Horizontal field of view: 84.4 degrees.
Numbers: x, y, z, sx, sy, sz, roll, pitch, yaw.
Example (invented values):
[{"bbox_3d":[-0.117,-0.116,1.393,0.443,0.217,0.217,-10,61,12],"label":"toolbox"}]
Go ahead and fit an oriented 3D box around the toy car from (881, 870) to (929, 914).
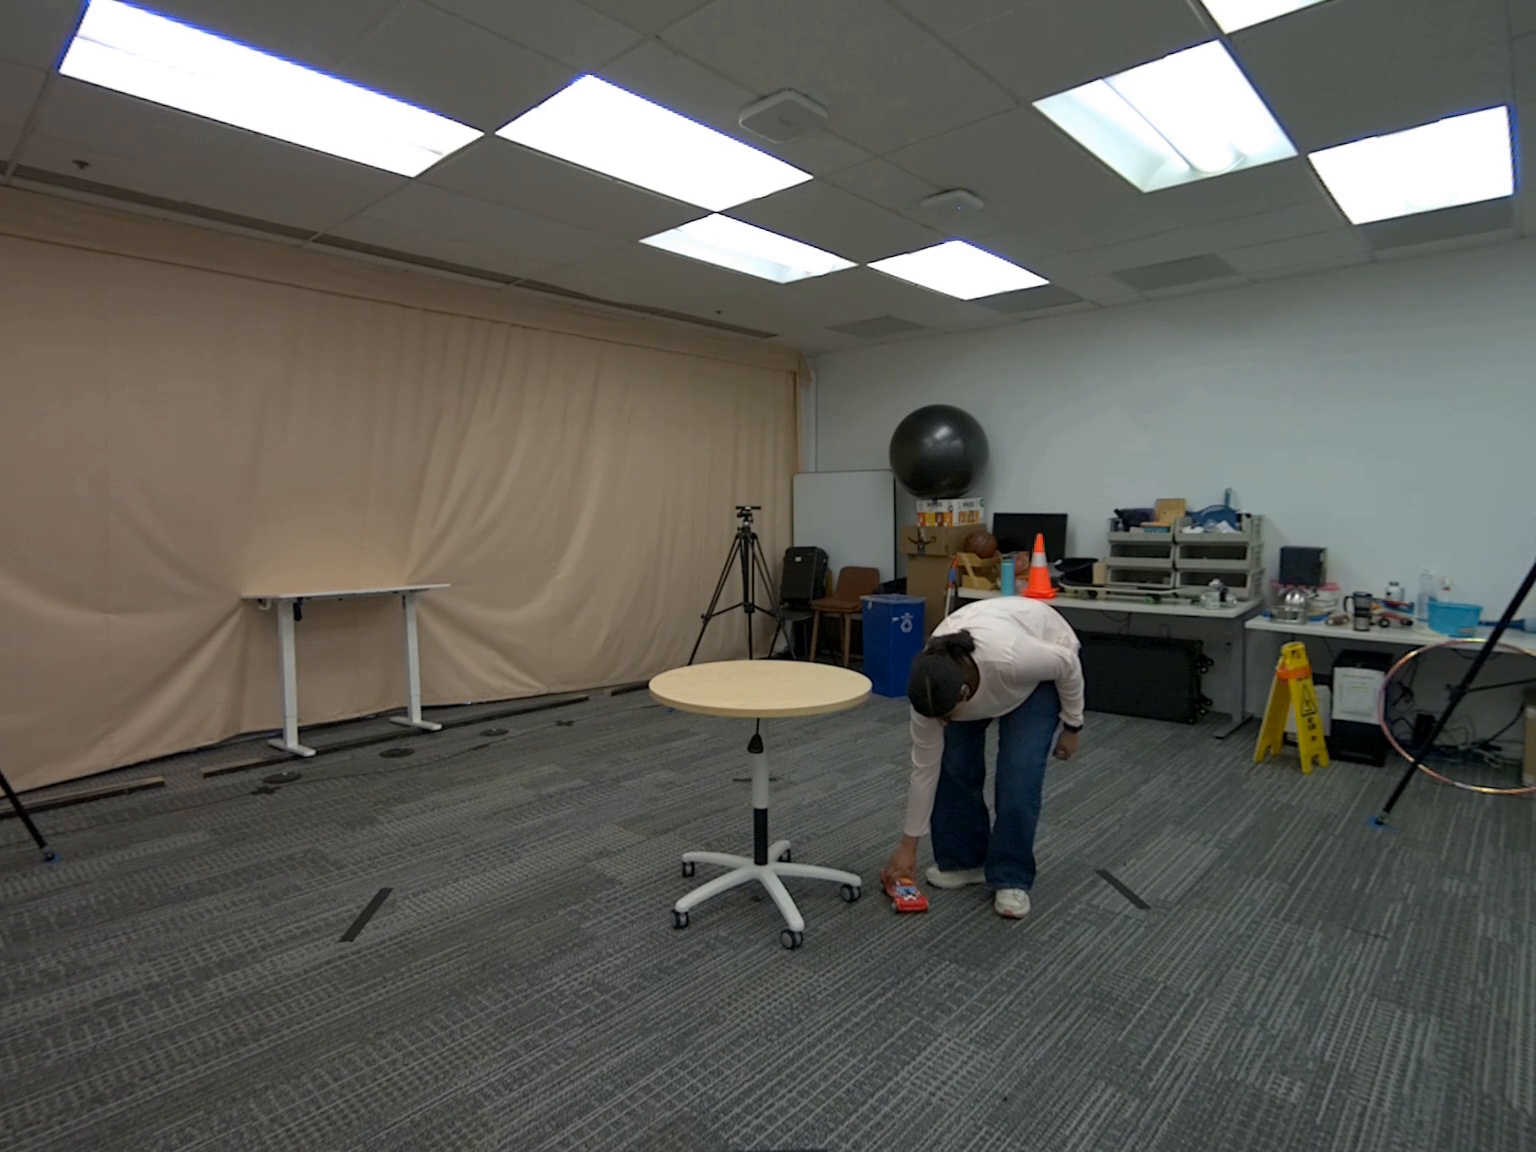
[{"bbox_3d":[0.484,1.117,2.977,0.130,0.082,0.258,0,12,-6],"label":"toy car"}]
